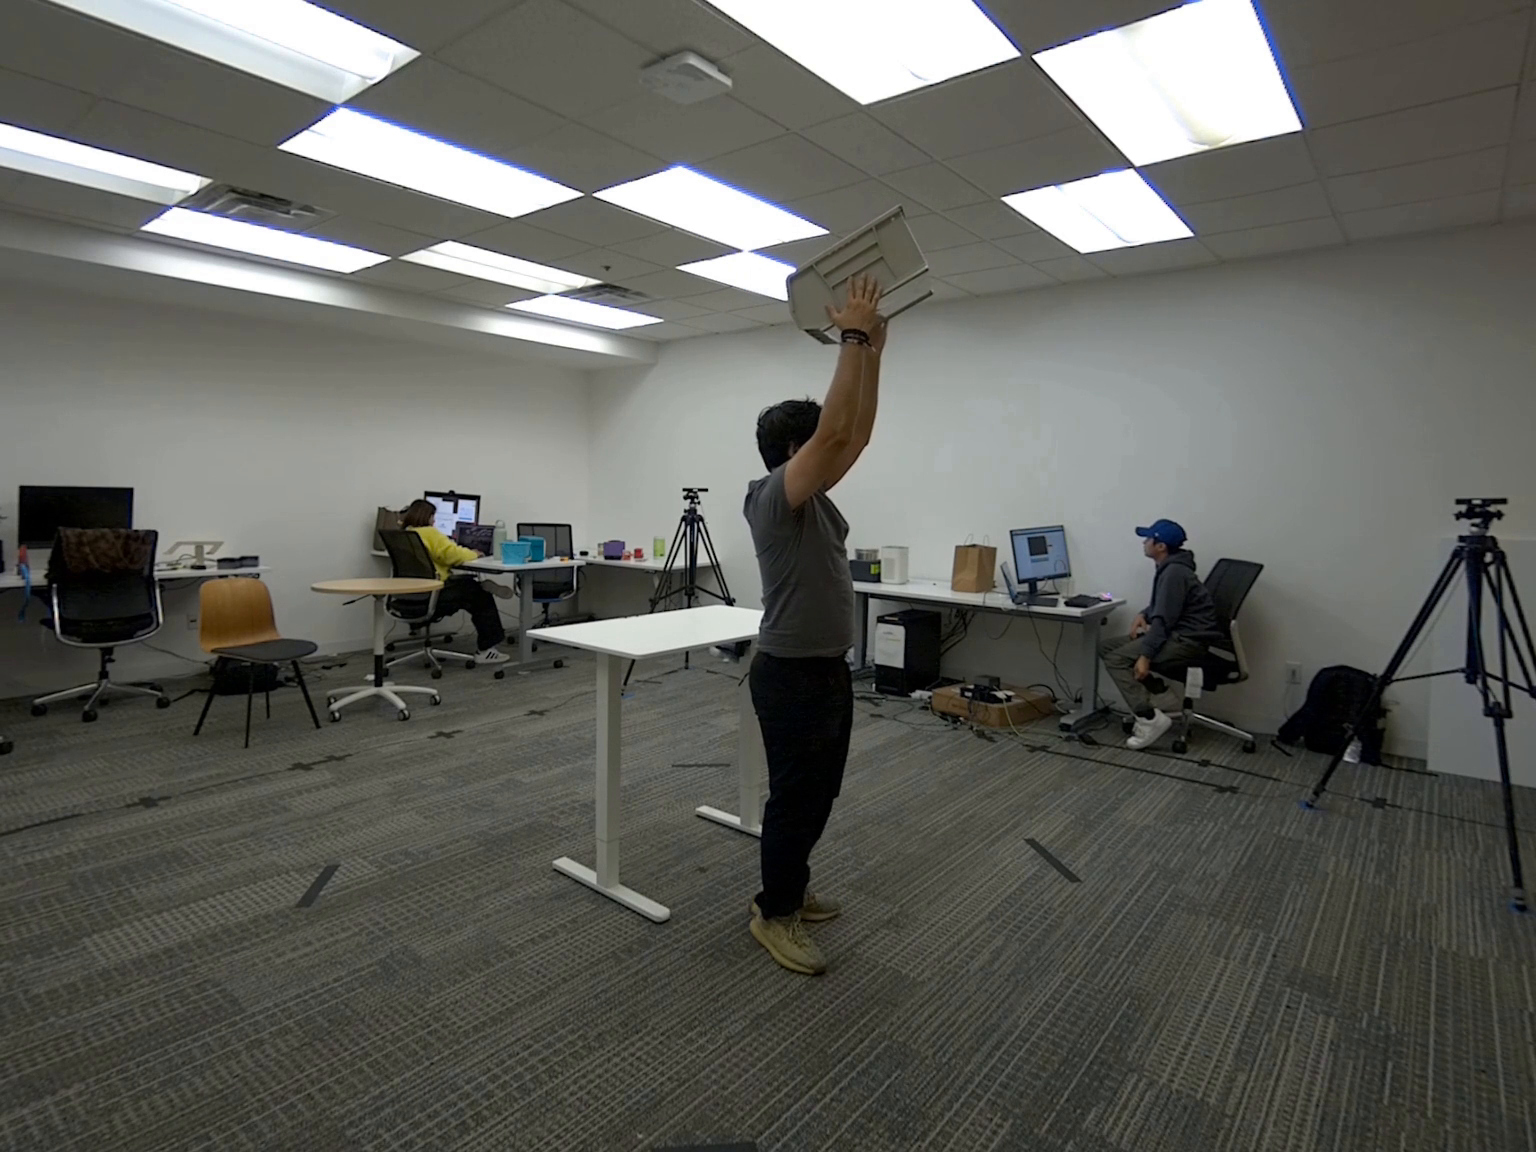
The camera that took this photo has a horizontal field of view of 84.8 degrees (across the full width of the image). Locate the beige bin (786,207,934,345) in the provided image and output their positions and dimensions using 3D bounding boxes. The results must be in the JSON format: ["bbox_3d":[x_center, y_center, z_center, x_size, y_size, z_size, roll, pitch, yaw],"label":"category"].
[{"bbox_3d":[0.257,-0.822,2.426,0.380,0.189,0.419,-27,1,16],"label":"beige bin"}]
